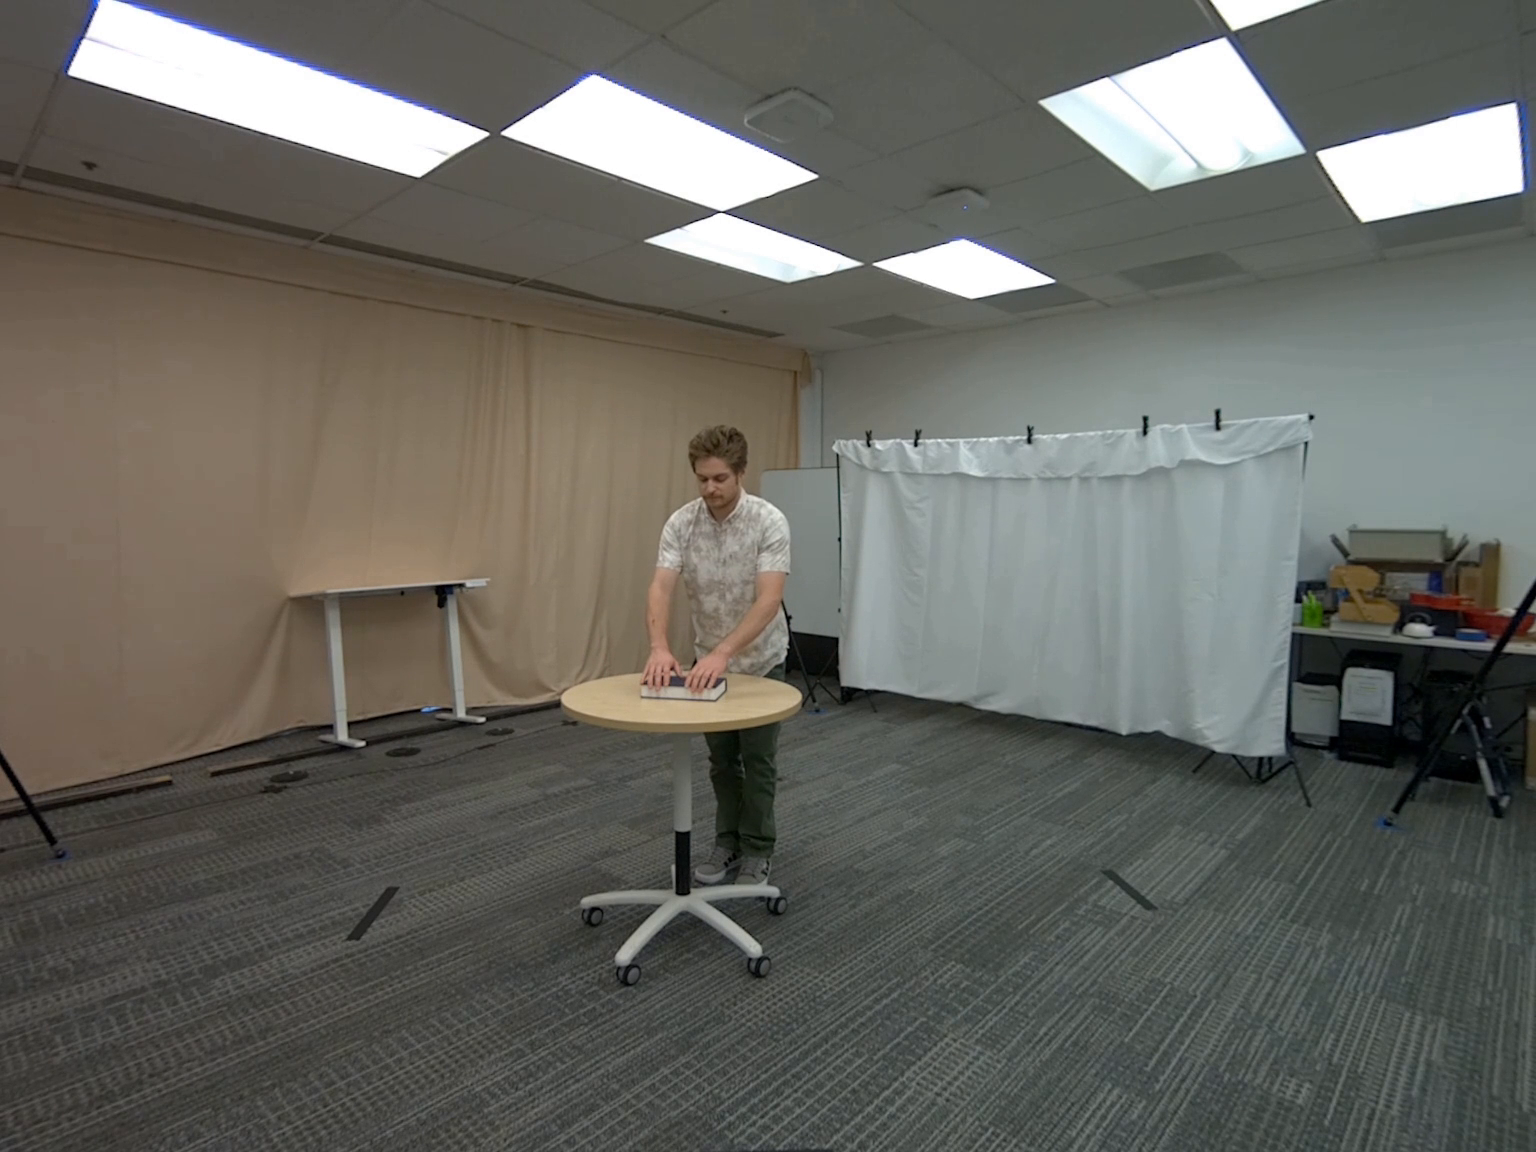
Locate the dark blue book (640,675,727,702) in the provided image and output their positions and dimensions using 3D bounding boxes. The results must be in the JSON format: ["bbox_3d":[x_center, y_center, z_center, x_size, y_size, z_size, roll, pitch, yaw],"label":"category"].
[{"bbox_3d":[-0.271,0.360,2.692,0.248,0.045,0.162,1,4,11],"label":"dark blue book"}]
